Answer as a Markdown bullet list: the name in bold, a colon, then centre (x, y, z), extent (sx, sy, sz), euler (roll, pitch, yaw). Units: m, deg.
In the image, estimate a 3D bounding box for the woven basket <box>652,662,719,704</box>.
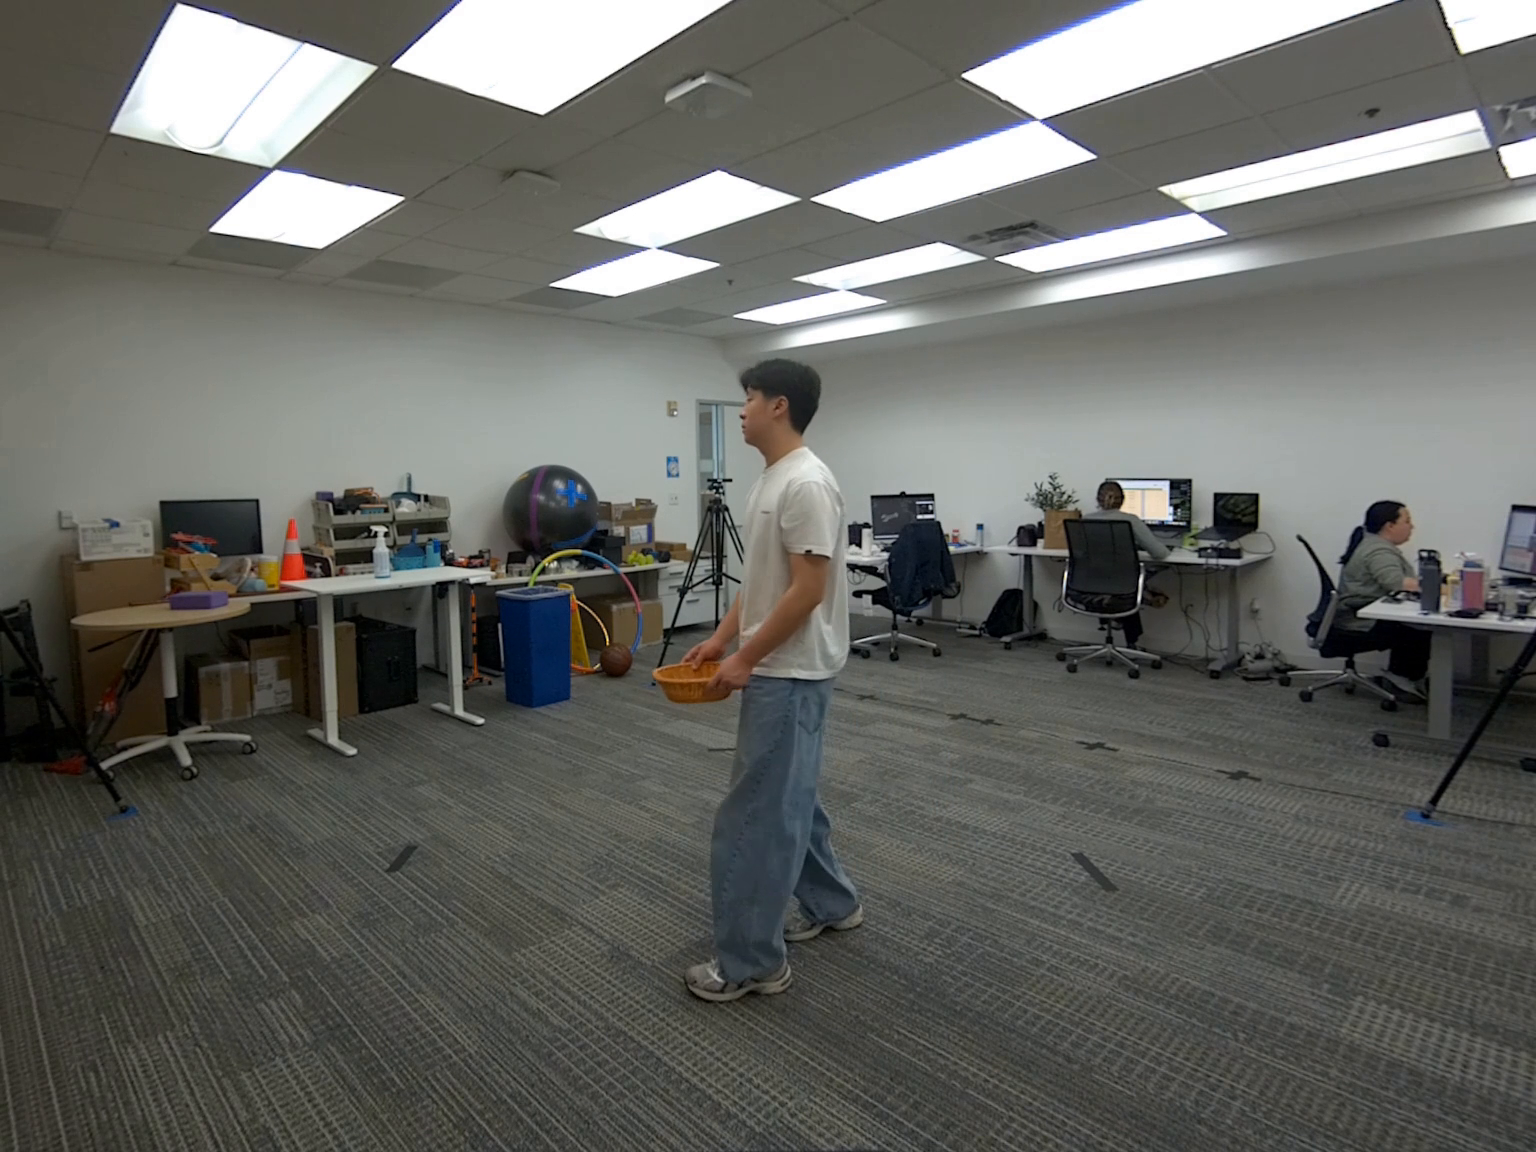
- **woven basket**: centre (-0.190, 0.311, 2.461), extent (0.250, 0.073, 0.353), euler (-3, 1, -9)
